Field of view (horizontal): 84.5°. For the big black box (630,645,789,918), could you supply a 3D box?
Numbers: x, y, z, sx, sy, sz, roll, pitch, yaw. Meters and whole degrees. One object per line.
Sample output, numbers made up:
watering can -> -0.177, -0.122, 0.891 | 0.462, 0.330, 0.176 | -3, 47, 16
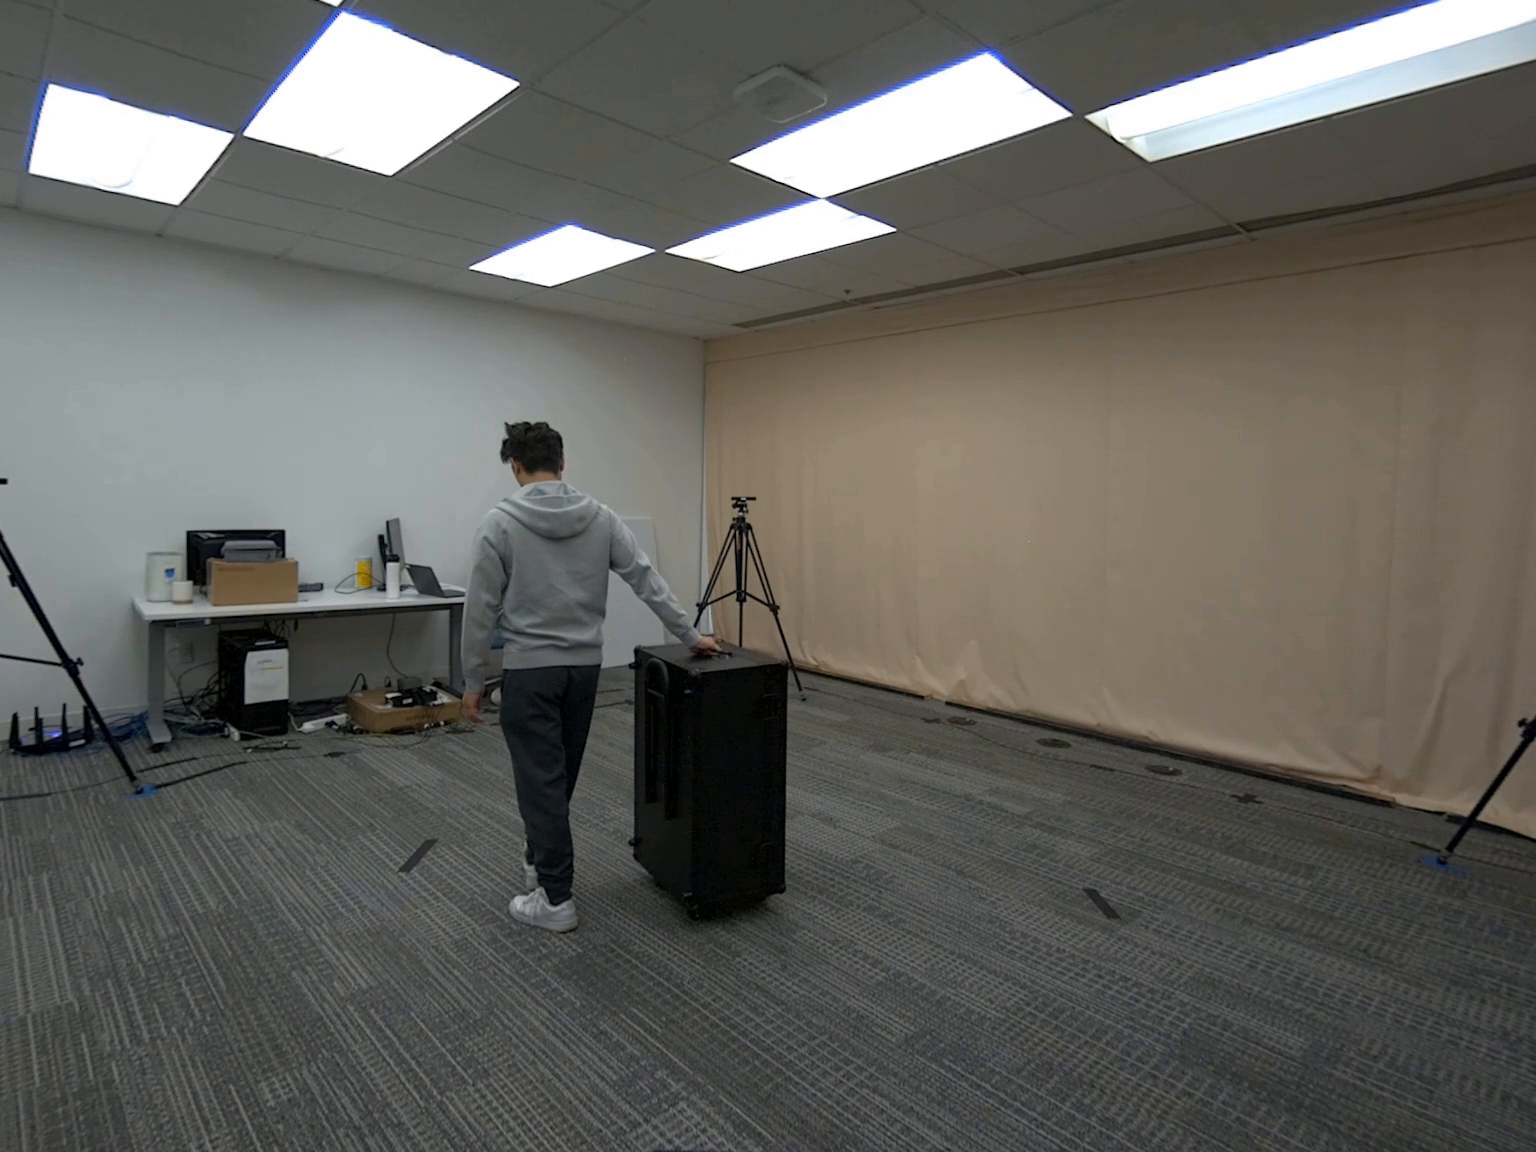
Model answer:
big black box -> -0.222, 0.696, 2.924 | 0.388, 0.859, 0.533 | -3, 5, -30
